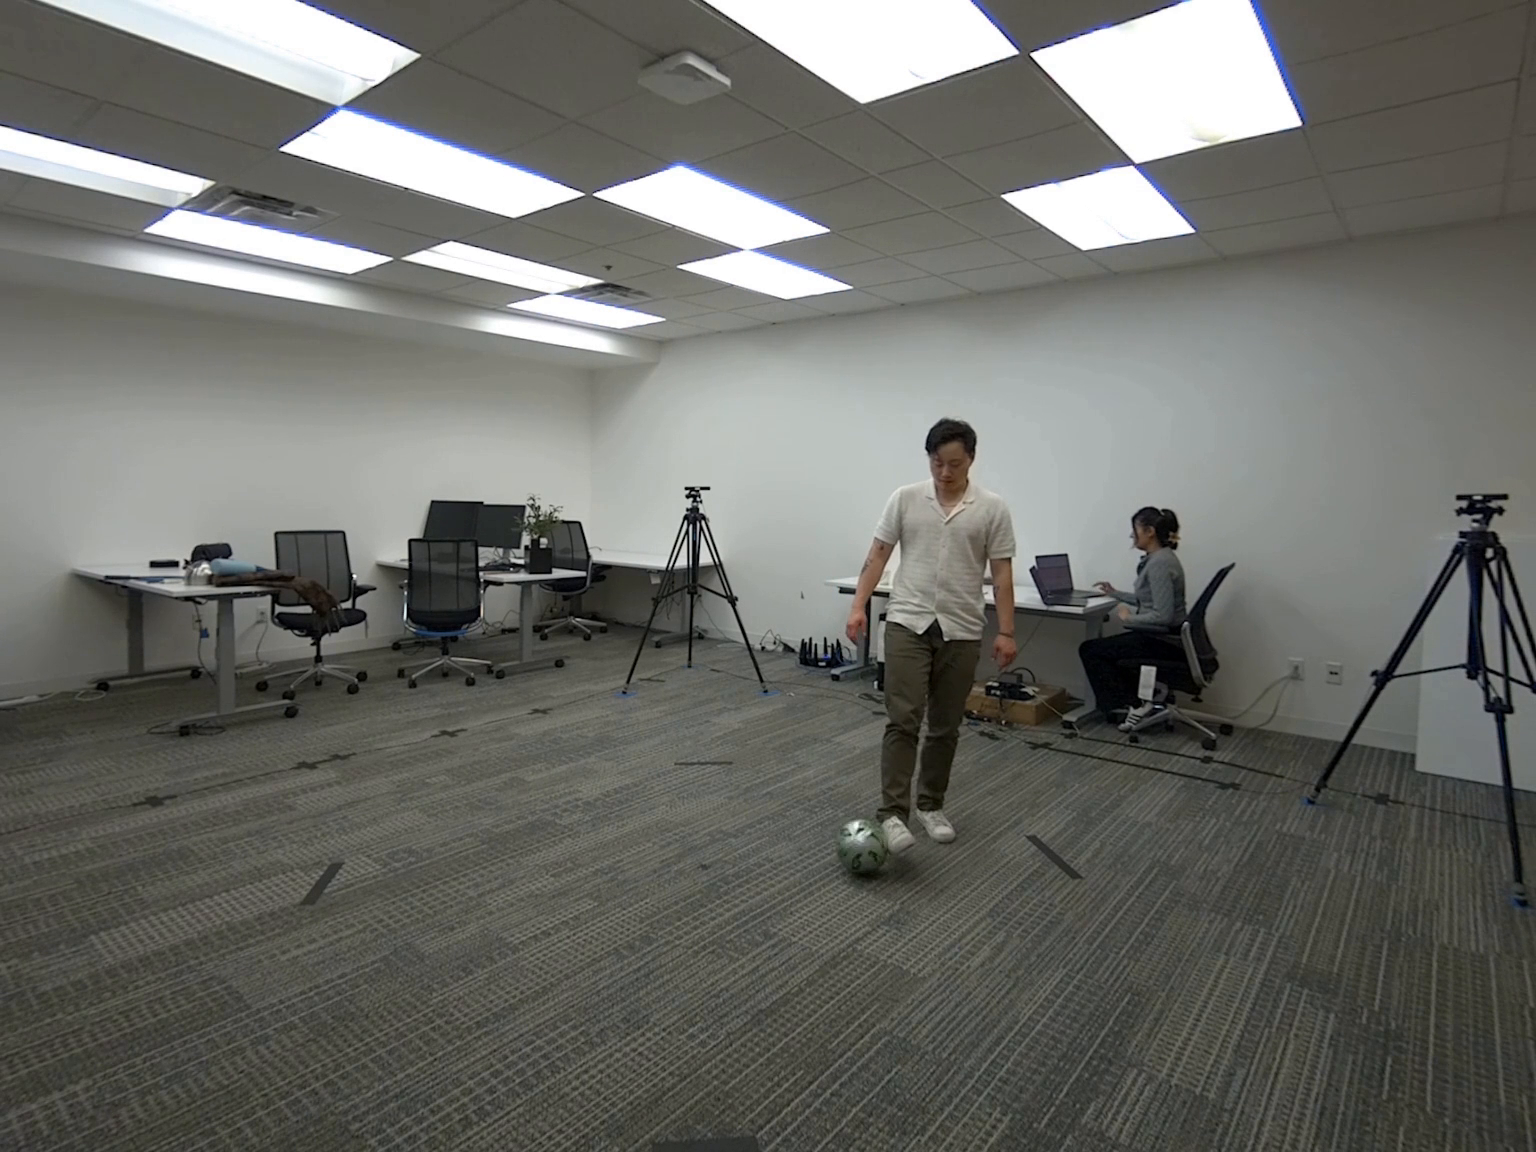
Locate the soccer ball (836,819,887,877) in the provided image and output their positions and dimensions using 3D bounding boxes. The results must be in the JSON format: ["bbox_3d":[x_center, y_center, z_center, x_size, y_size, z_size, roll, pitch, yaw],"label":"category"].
[{"bbox_3d":[0.330,0.984,3.100,0.187,0.187,0.188,1,4,-2],"label":"soccer ball"}]
